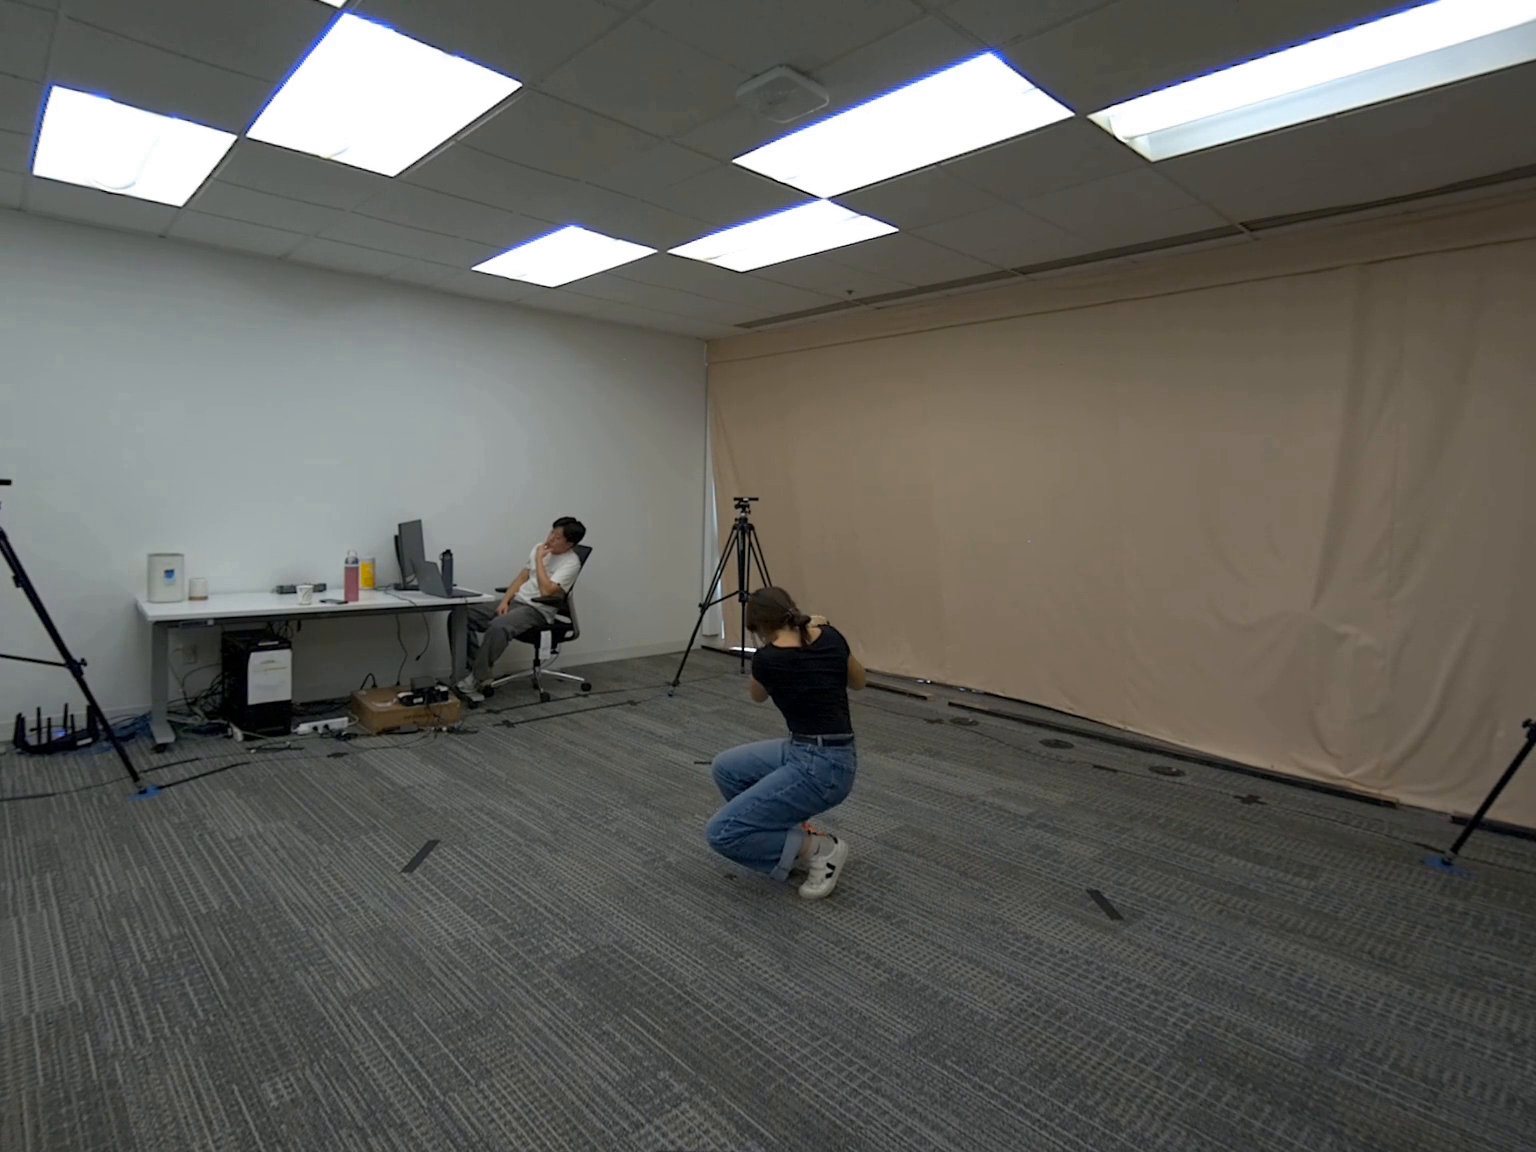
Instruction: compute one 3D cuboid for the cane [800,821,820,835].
[{"bbox_3d":[0.132,0.644,3.380,0.202,0.906,0.155,-1,4,-32],"label":"cane"}]
